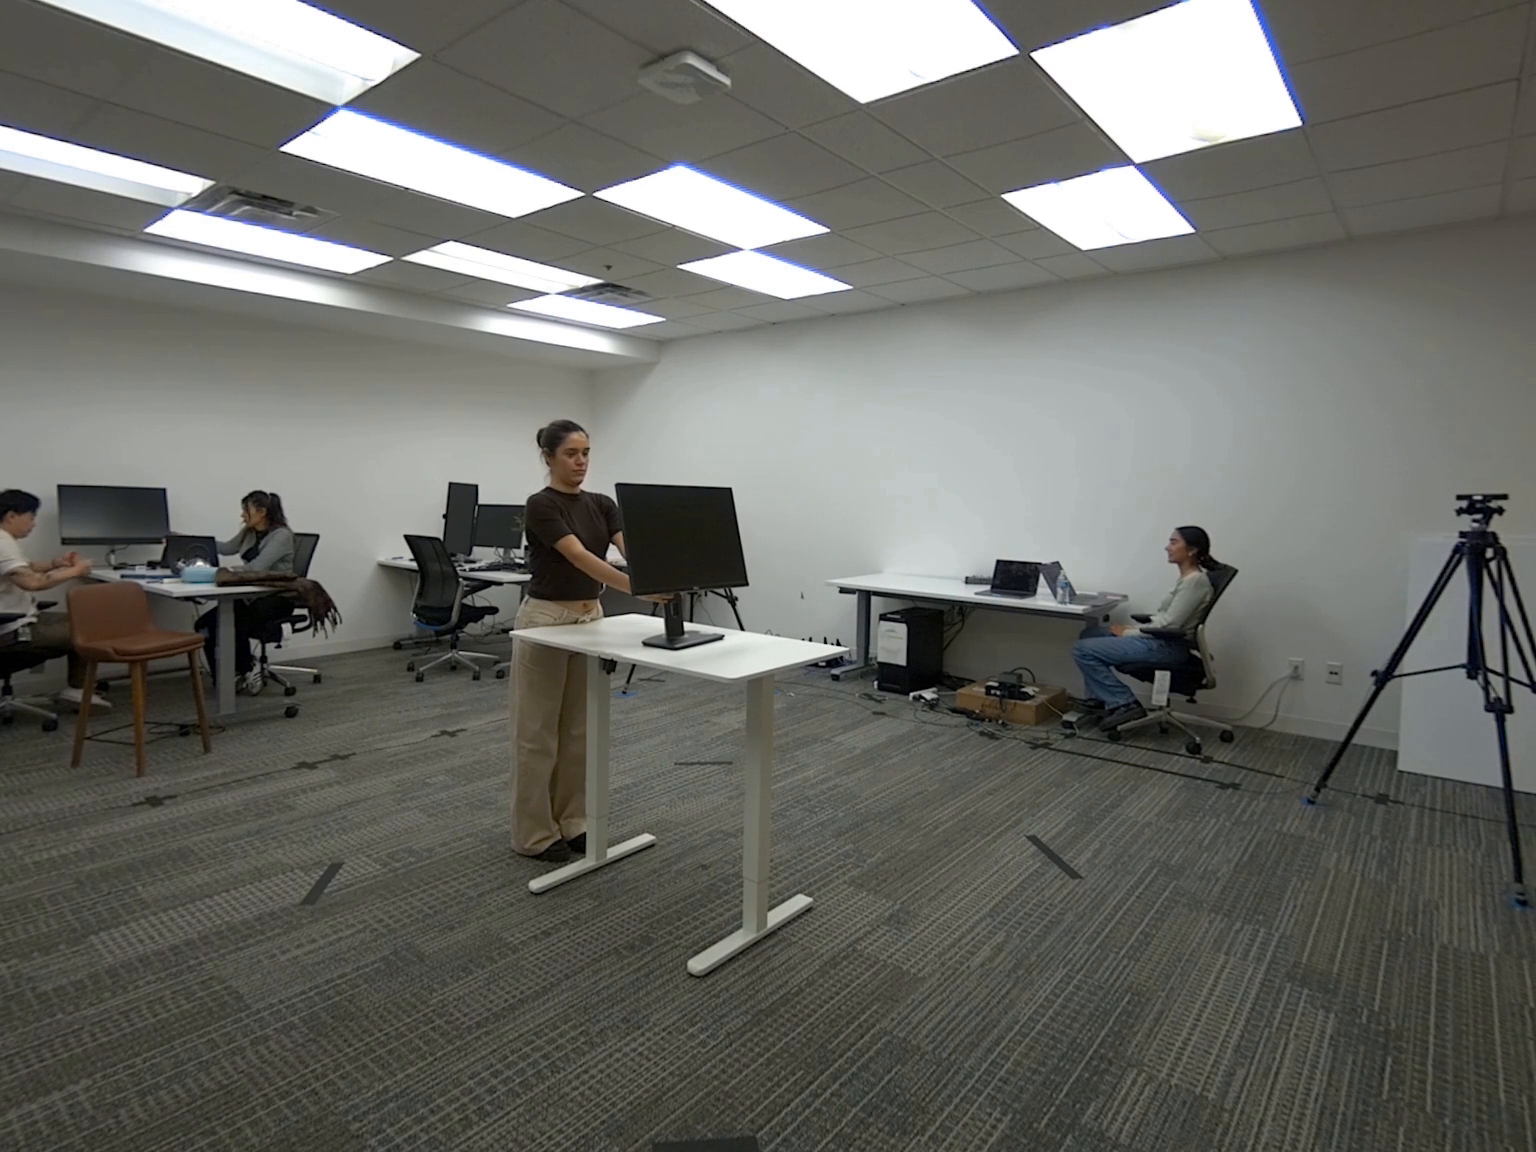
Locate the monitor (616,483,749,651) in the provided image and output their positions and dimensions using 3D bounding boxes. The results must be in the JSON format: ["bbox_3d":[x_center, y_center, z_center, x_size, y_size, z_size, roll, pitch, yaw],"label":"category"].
[{"bbox_3d":[-0.301,-0.037,2.794,0.193,0.522,0.523,1,3,37],"label":"monitor"}]
